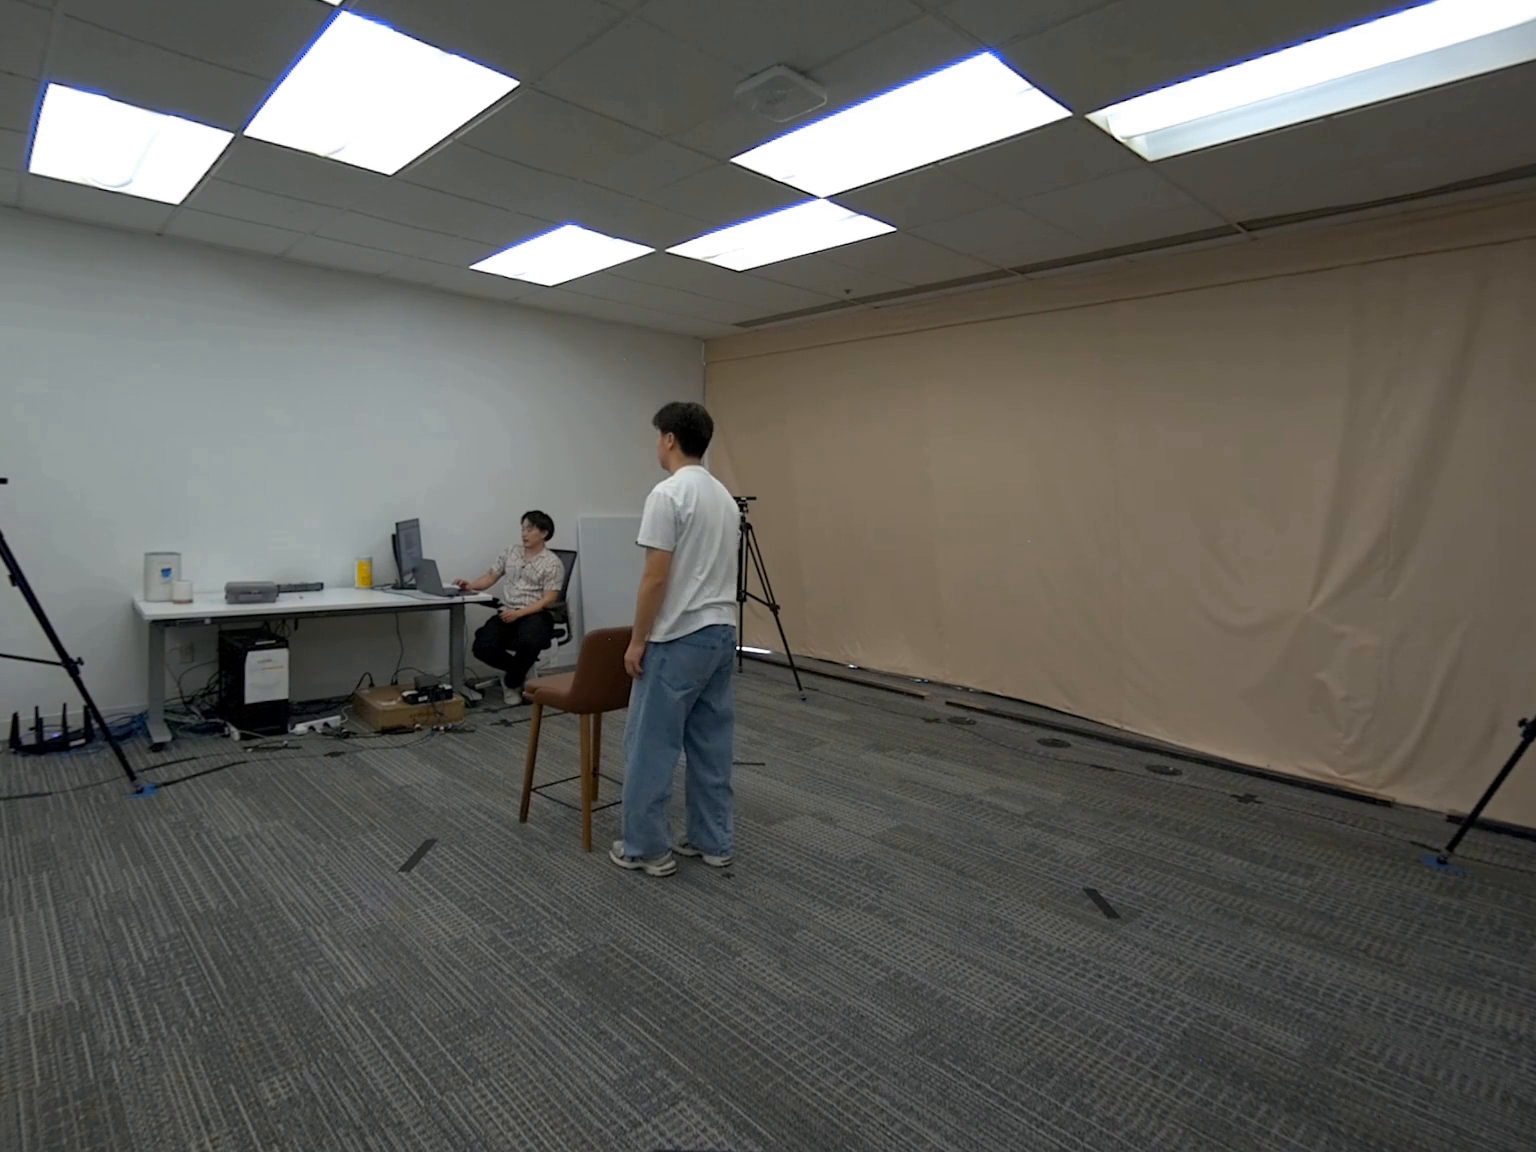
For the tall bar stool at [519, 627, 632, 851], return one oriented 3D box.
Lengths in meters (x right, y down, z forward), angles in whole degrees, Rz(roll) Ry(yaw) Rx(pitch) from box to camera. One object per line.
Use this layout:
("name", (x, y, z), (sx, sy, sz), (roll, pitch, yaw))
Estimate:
("tall bar stool", (-0.741, 0.616, 3.532), (0.480, 0.887, 0.446), (7, 7, 42))
